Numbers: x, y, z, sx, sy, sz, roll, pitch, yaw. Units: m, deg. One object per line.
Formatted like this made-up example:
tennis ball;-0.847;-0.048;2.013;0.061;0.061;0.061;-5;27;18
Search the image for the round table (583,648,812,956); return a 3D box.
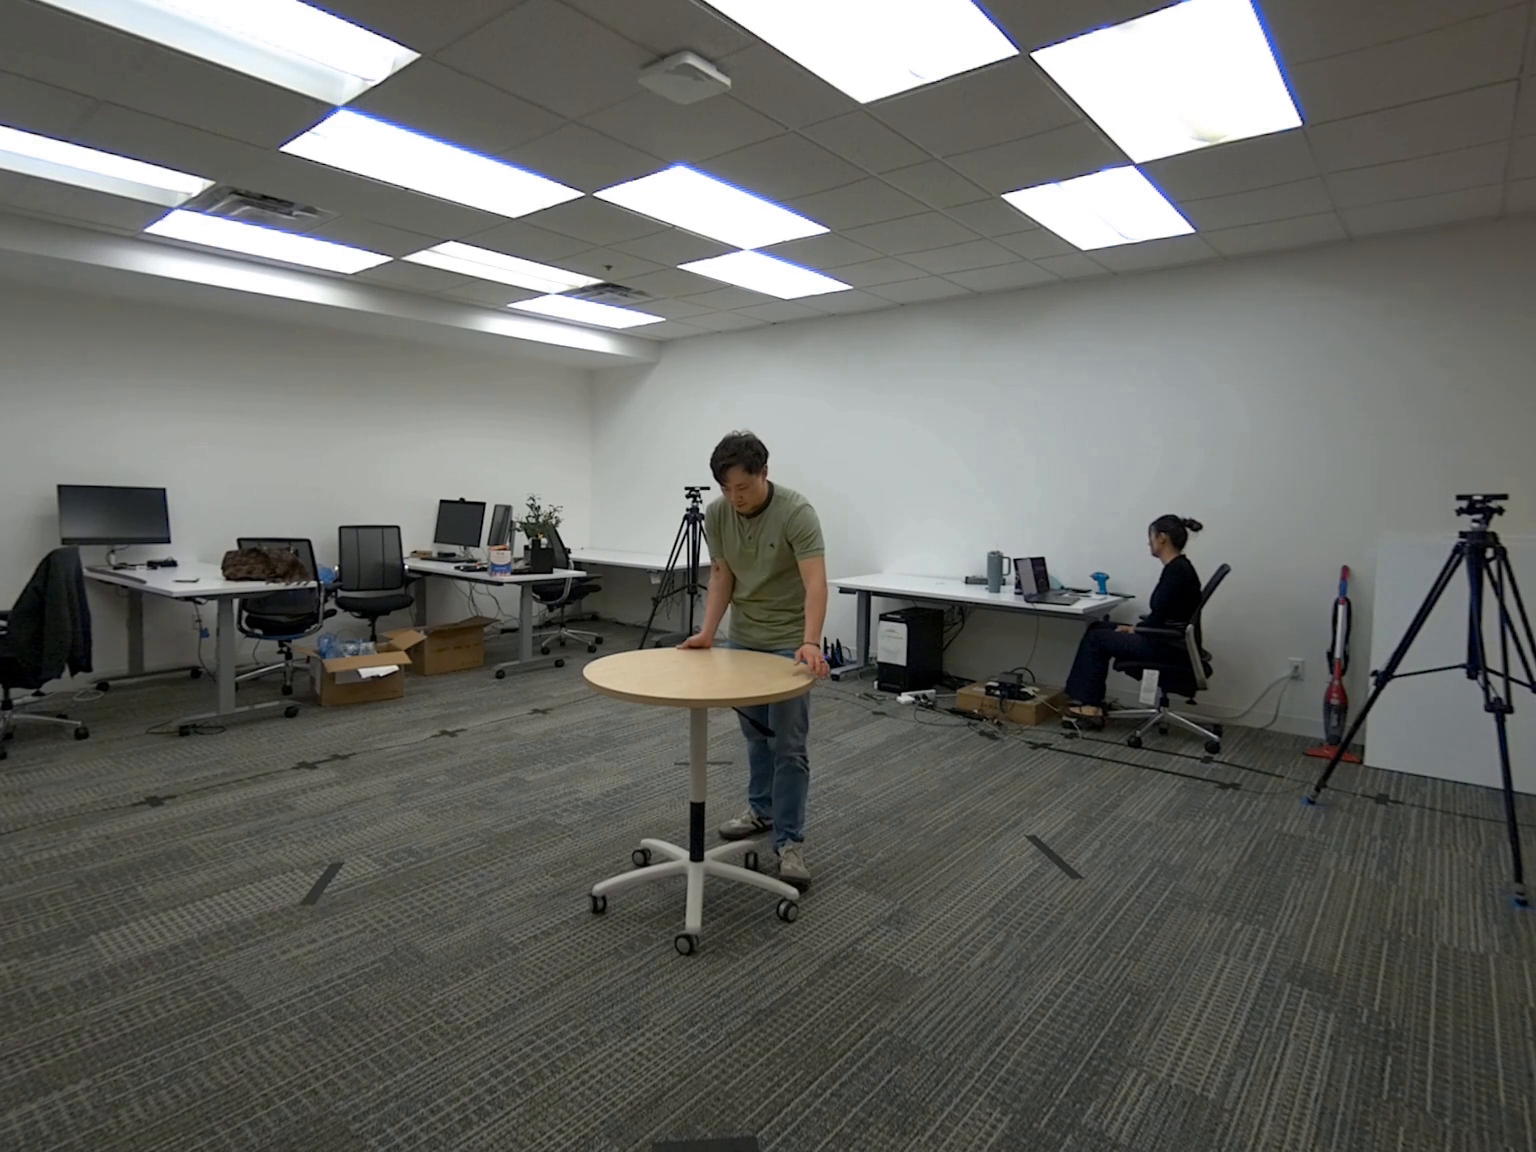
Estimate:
round table;-0.247;0.701;2.848;0.763;0.791;0.768;1;4;-2
